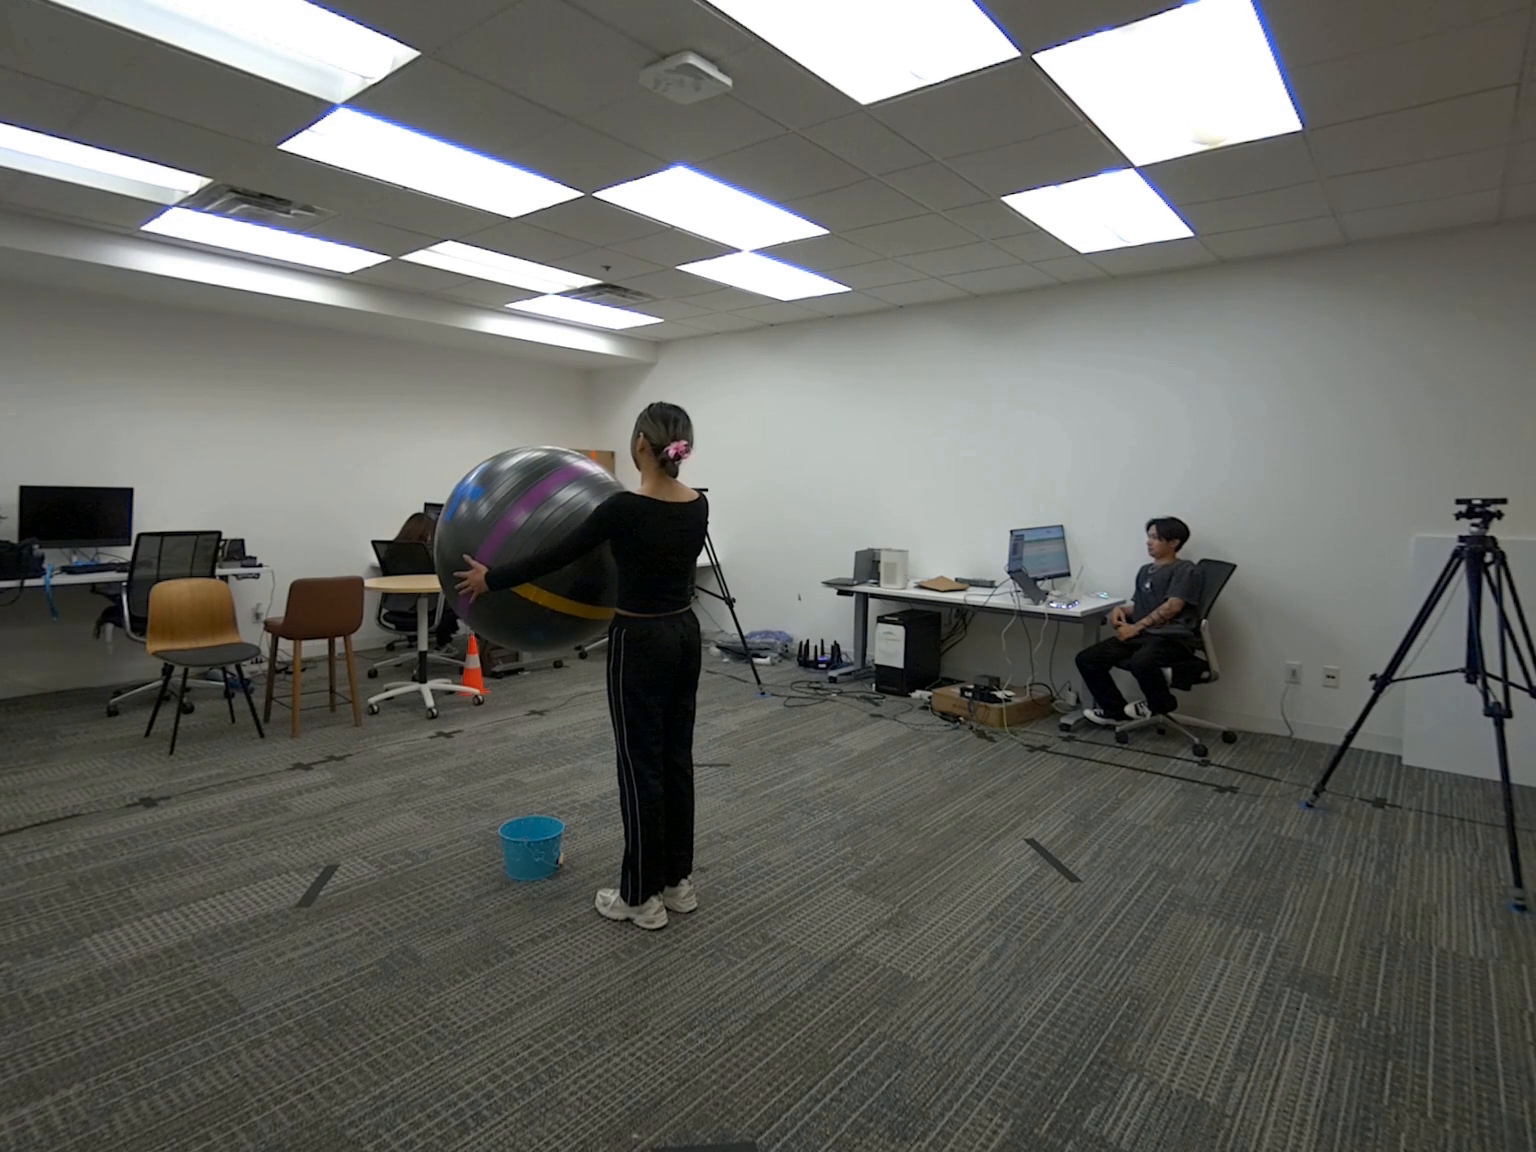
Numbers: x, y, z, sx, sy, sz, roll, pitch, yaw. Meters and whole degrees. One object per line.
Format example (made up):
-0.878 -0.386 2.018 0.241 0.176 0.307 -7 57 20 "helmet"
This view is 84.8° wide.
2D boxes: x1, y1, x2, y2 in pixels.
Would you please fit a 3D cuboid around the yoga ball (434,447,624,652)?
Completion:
-0.842 -0.095 3.118 0.757 0.755 0.762 1 4 -2 "yoga ball"
